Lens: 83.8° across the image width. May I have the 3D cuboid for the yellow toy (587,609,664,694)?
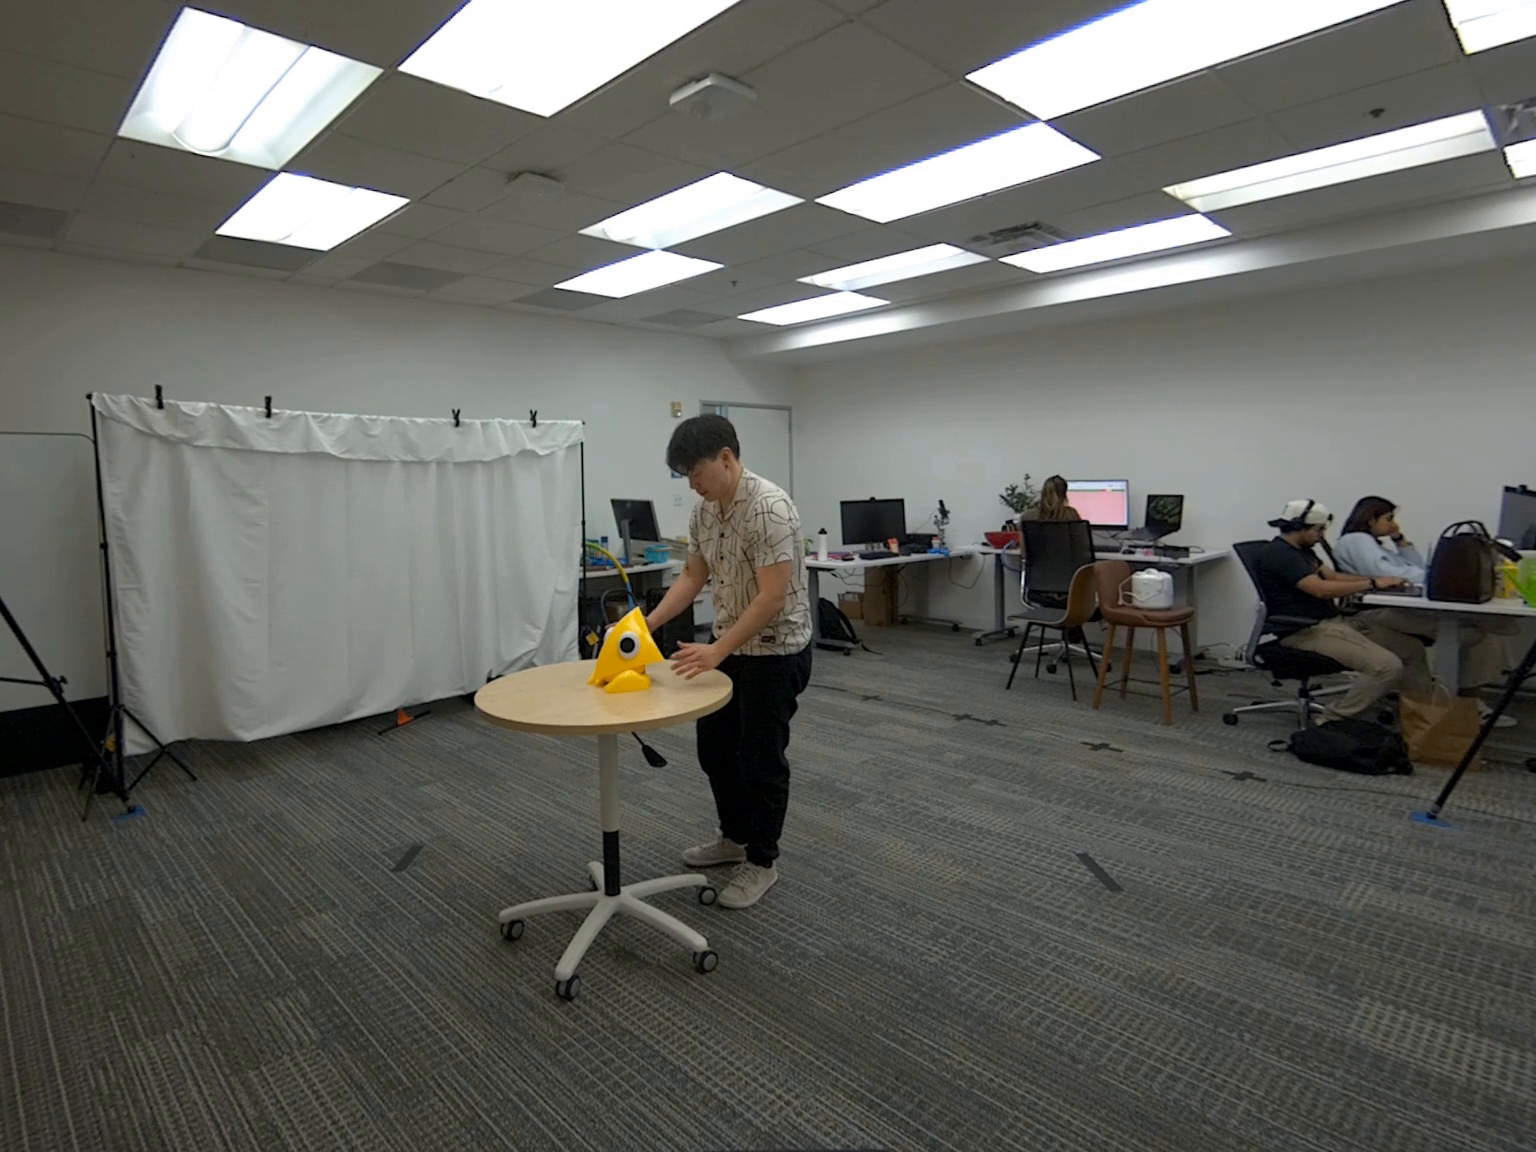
[{"bbox_3d":[-0.446,0.217,2.603,0.188,0.230,0.211,-5,6,-36],"label":"yellow toy"}]
